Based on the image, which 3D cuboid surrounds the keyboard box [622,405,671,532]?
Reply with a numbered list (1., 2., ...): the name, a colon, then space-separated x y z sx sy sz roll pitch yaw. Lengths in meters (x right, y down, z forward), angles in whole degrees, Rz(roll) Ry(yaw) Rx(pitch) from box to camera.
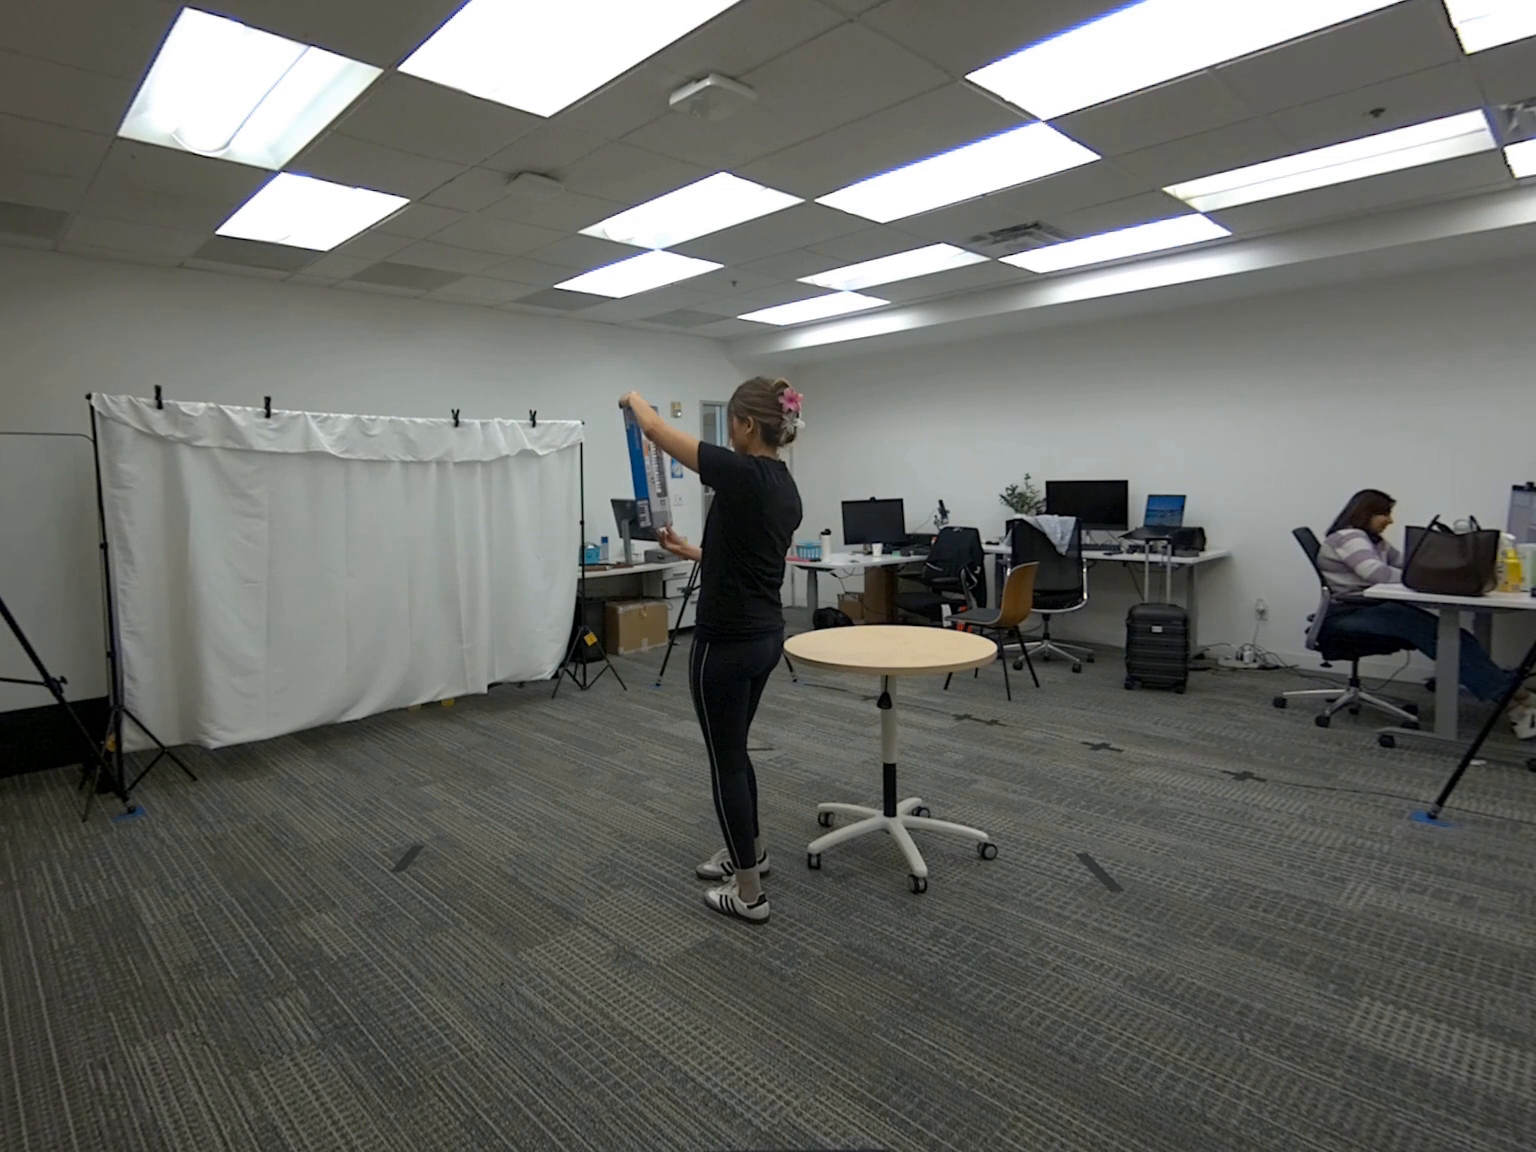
1. keyboard box: -0.424 -0.387 3.038 0.060 0.436 0.174 -8 2 16
